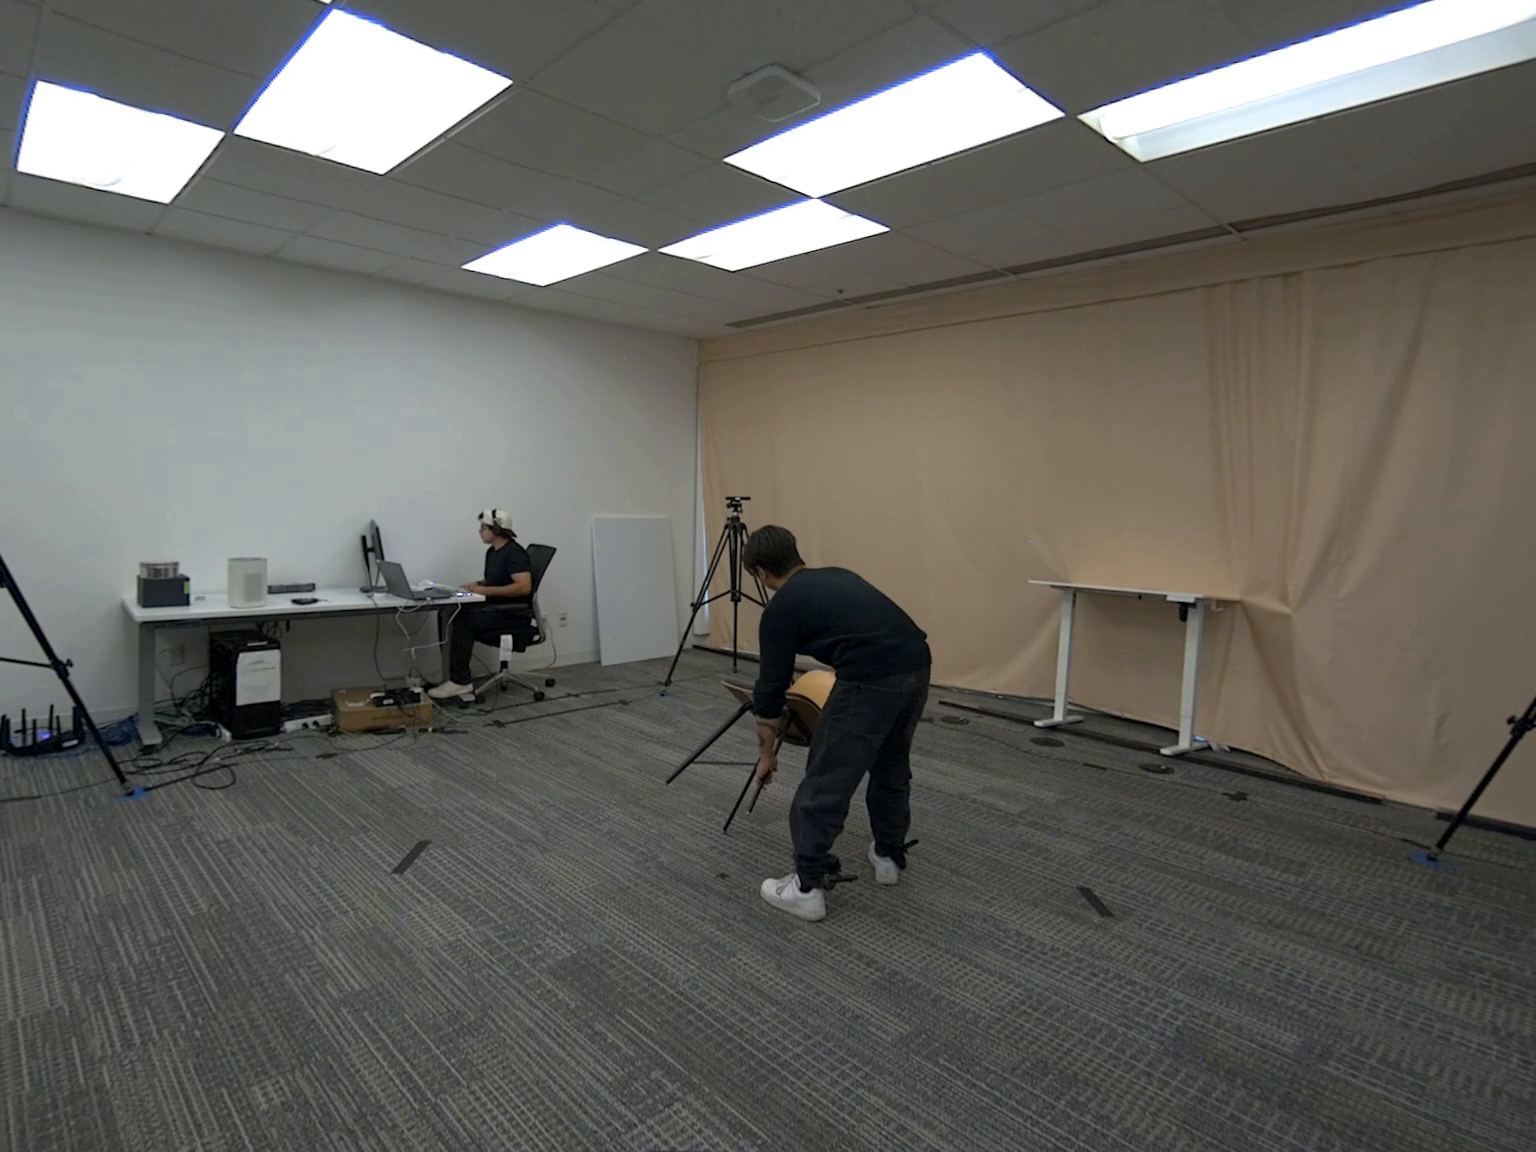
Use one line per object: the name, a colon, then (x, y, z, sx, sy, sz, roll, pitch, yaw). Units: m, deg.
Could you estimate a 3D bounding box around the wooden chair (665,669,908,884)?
wooden chair: (0.050, 0.606, 3.402, 0.490, 0.881, 0.508, 4, -39, 42)
